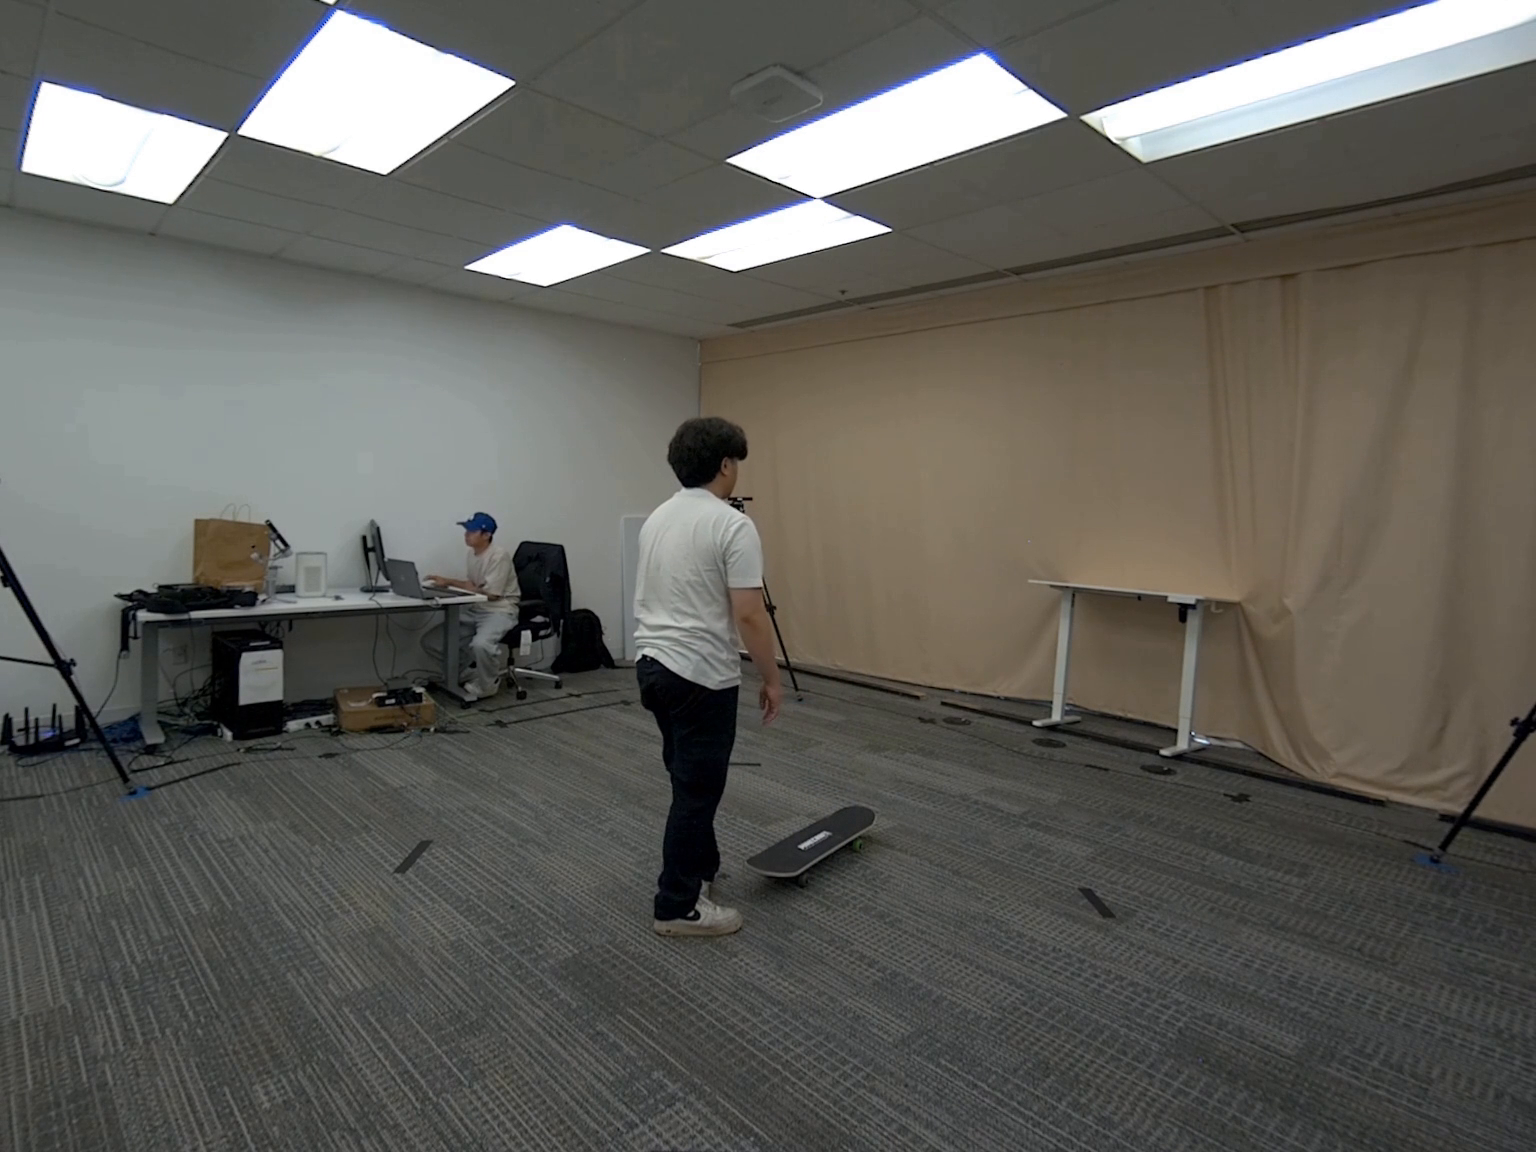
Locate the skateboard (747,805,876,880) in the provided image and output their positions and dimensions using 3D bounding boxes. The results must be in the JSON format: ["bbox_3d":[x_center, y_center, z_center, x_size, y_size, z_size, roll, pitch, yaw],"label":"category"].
[{"bbox_3d":[0.177,1.047,3.233,0.198,0.110,0.769,4,6,34],"label":"skateboard"}]
